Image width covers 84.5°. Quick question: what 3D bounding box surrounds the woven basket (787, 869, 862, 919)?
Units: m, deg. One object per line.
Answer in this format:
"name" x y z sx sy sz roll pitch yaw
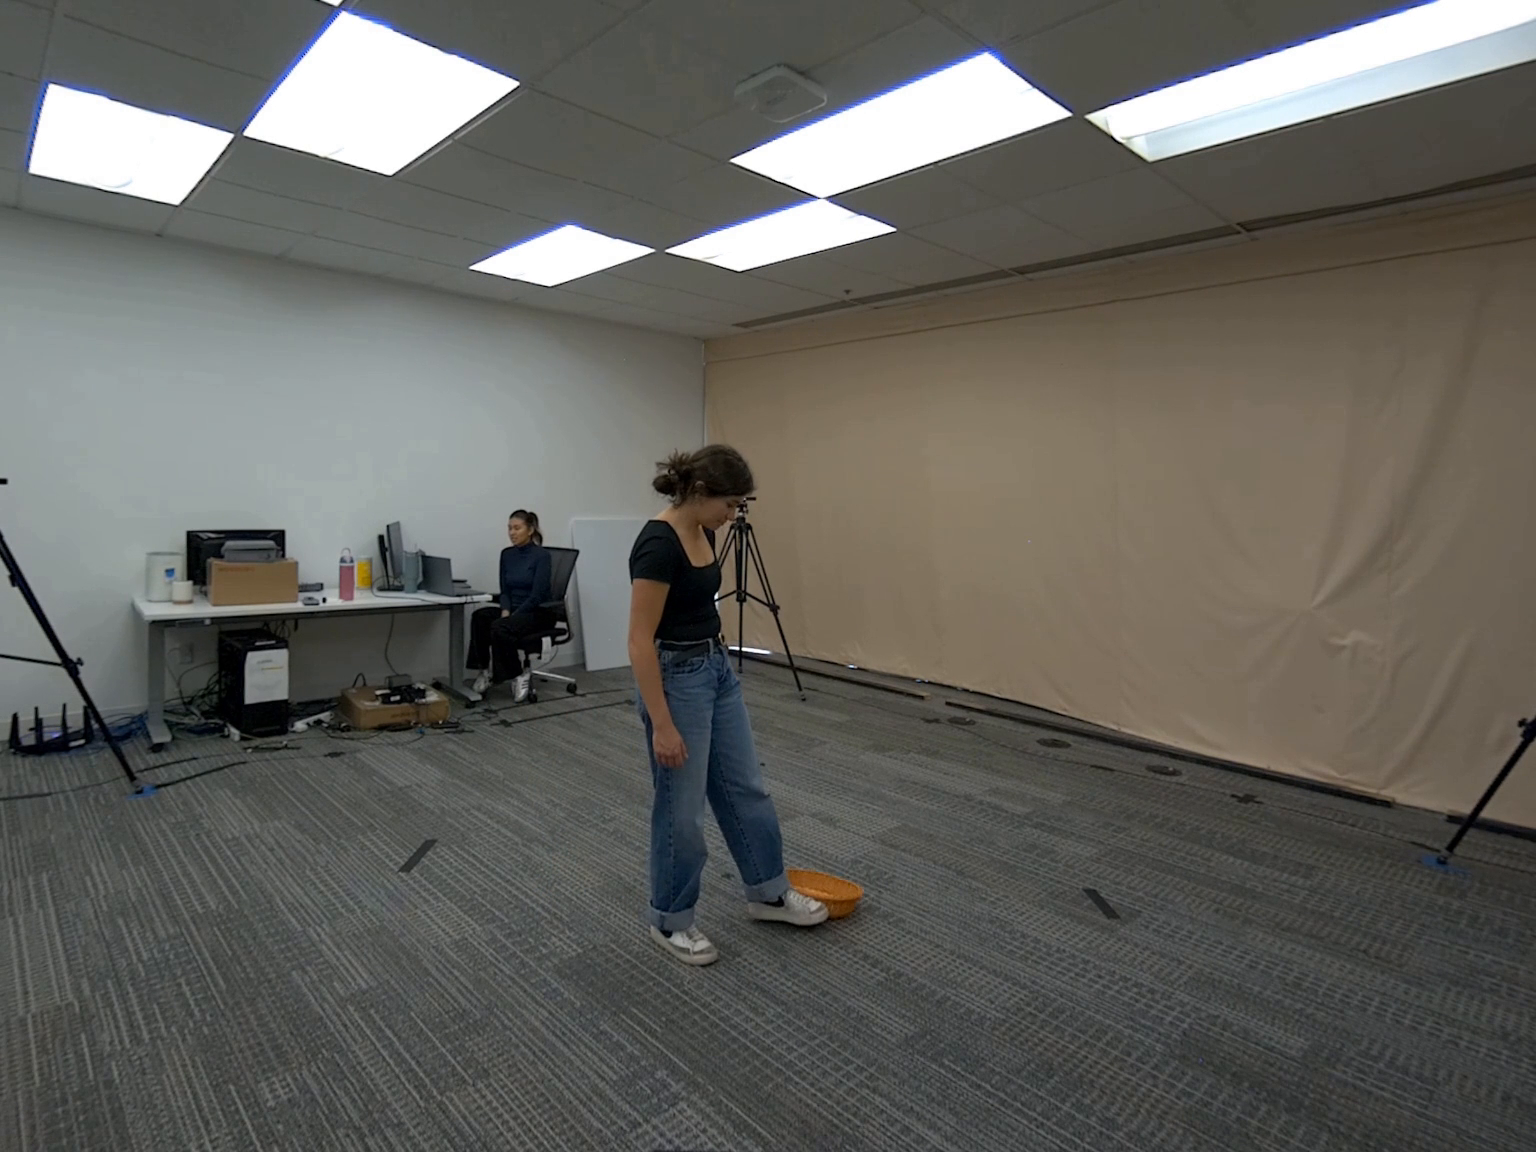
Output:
"woven basket" 0.148 1.089 2.882 0.359 0.073 0.246 2 -3 40
